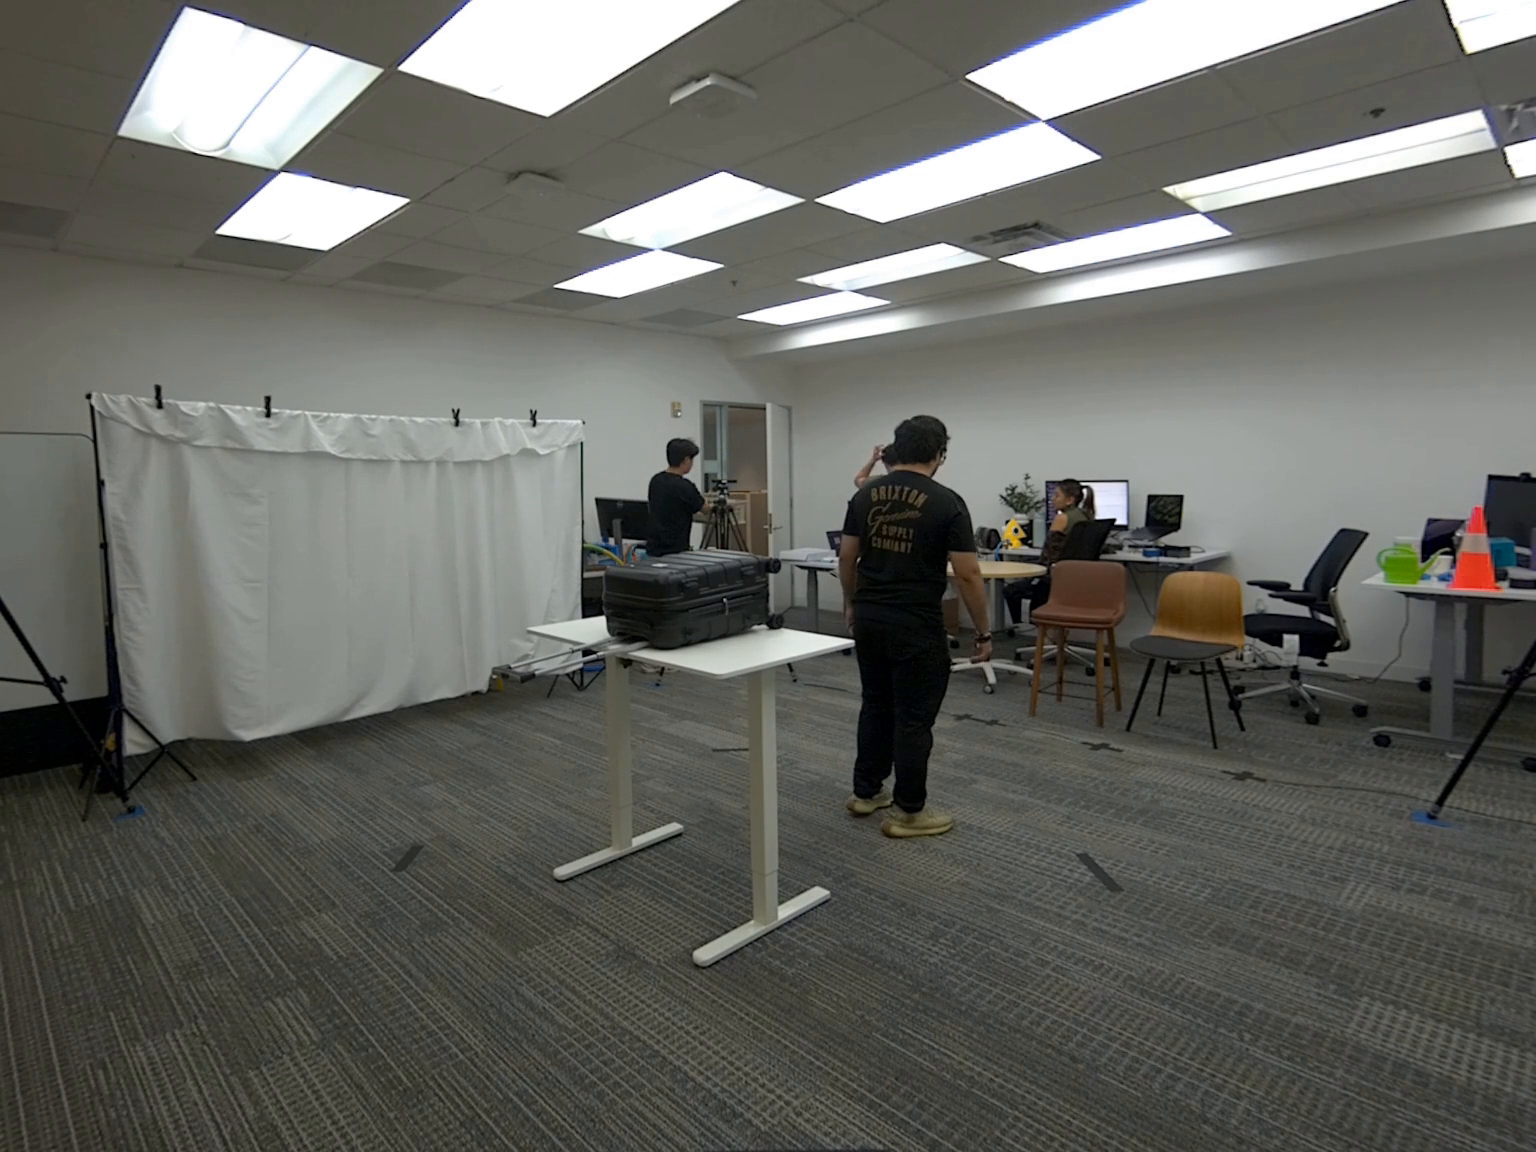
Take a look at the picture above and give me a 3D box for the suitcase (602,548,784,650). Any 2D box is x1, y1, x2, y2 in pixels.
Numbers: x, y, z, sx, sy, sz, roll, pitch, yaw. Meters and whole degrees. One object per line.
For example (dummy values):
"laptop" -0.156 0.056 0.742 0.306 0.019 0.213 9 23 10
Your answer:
"suitcase" -0.400 0.097 2.729 0.954 0.255 0.396 -9 11 -44
